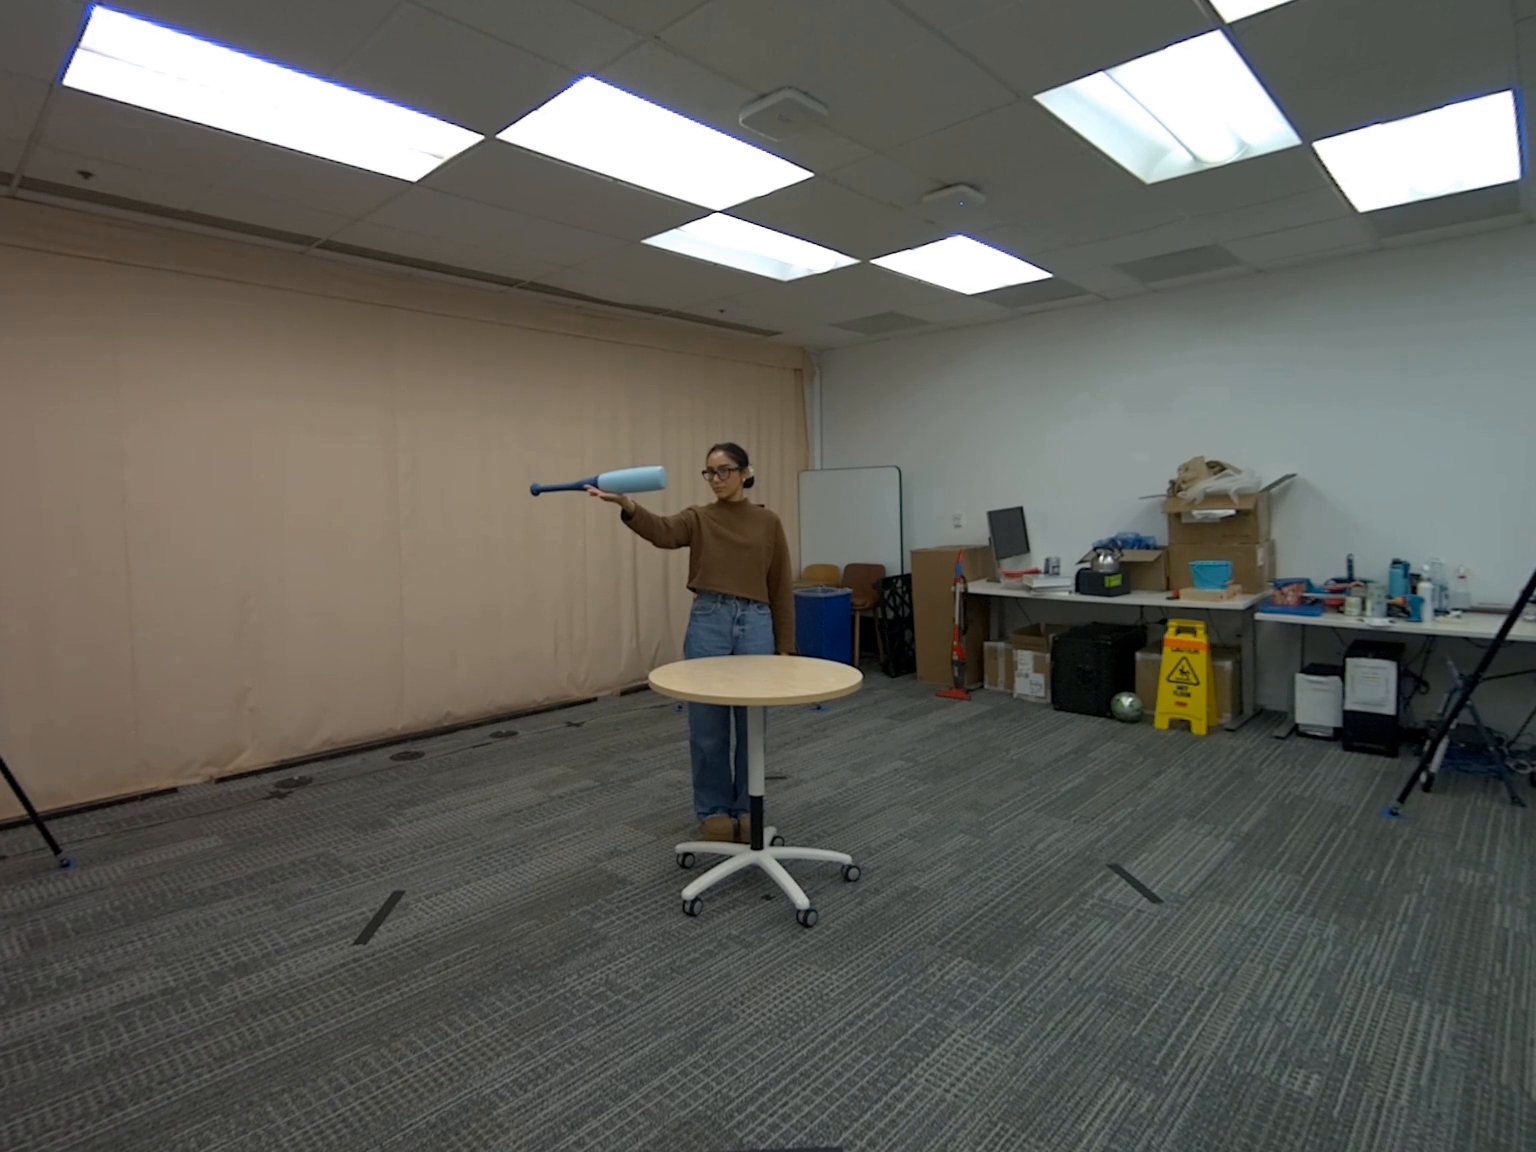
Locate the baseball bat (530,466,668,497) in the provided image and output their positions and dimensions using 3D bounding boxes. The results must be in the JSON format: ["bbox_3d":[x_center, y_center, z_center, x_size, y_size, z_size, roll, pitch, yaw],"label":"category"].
[{"bbox_3d":[-0.630,-0.337,3.104,0.552,0.089,0.087,-4,3,17],"label":"baseball bat"}]
